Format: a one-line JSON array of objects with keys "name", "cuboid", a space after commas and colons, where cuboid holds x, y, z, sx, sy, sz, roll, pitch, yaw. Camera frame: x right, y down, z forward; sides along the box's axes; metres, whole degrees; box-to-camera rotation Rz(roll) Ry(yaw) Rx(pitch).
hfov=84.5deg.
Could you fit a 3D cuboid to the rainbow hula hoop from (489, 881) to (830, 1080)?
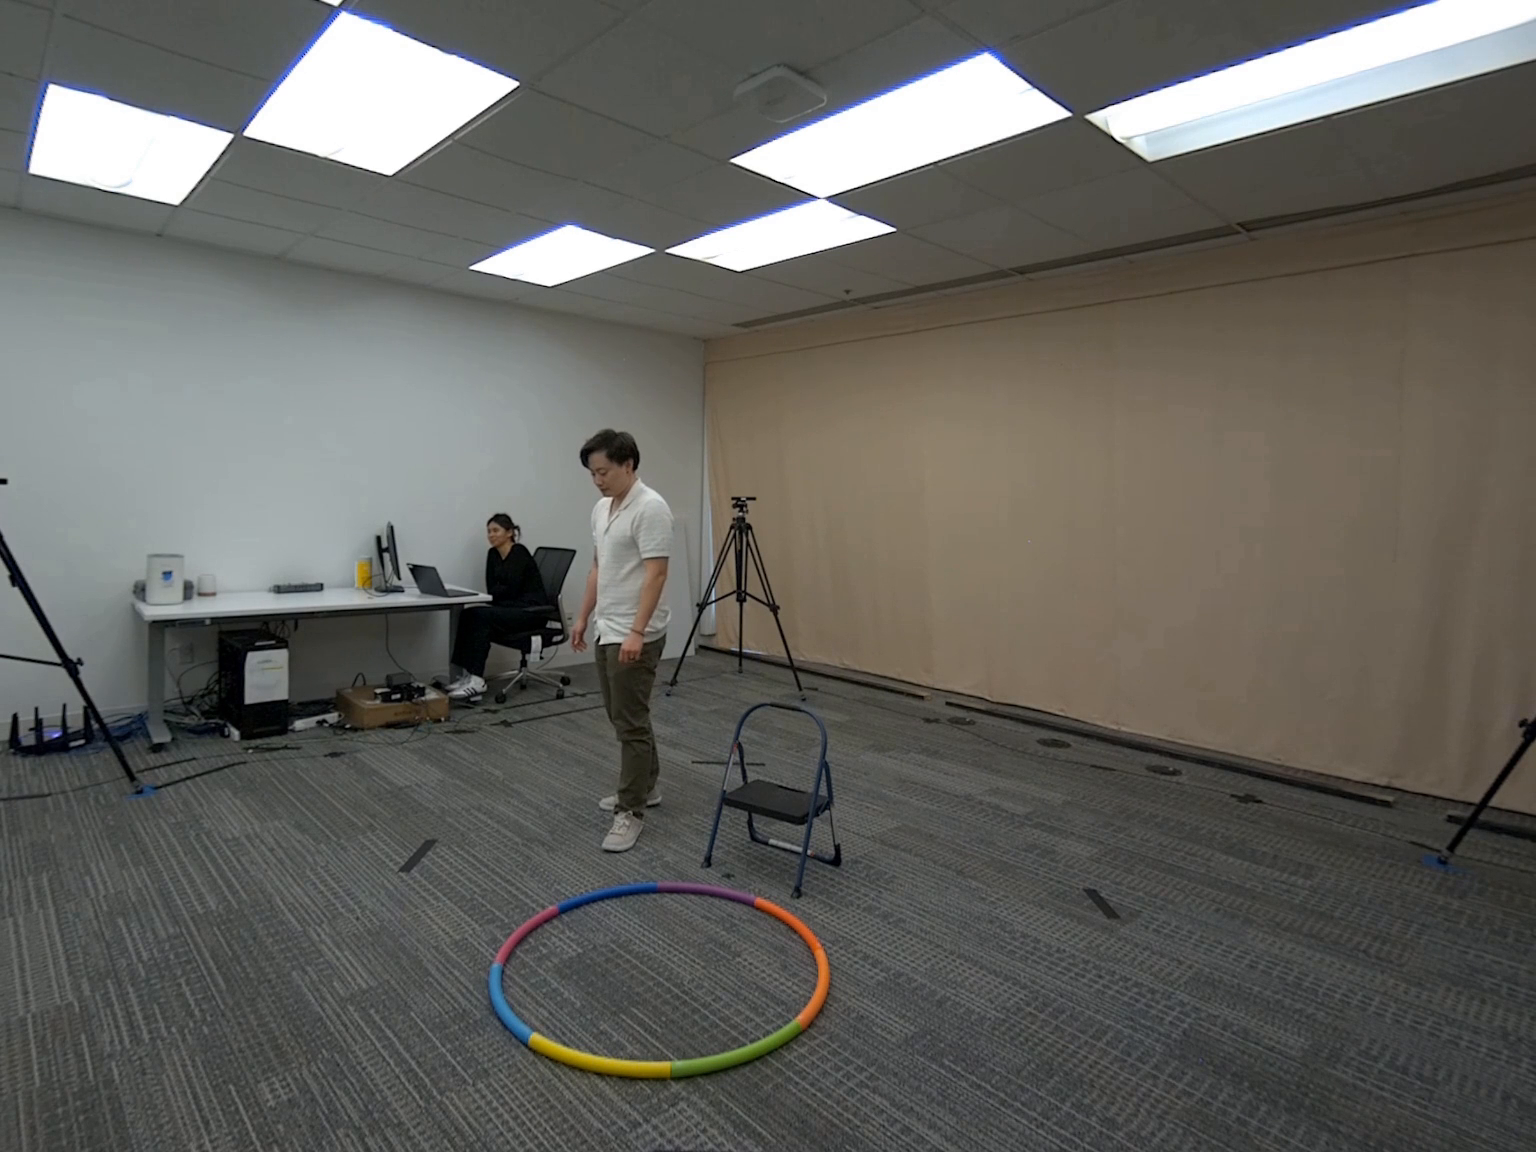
[{"name": "rainbow hula hoop", "cuboid": [-0.317, 1.131, 2.490, 0.978, 0.035, 0.982, 1, 5, -1]}]
